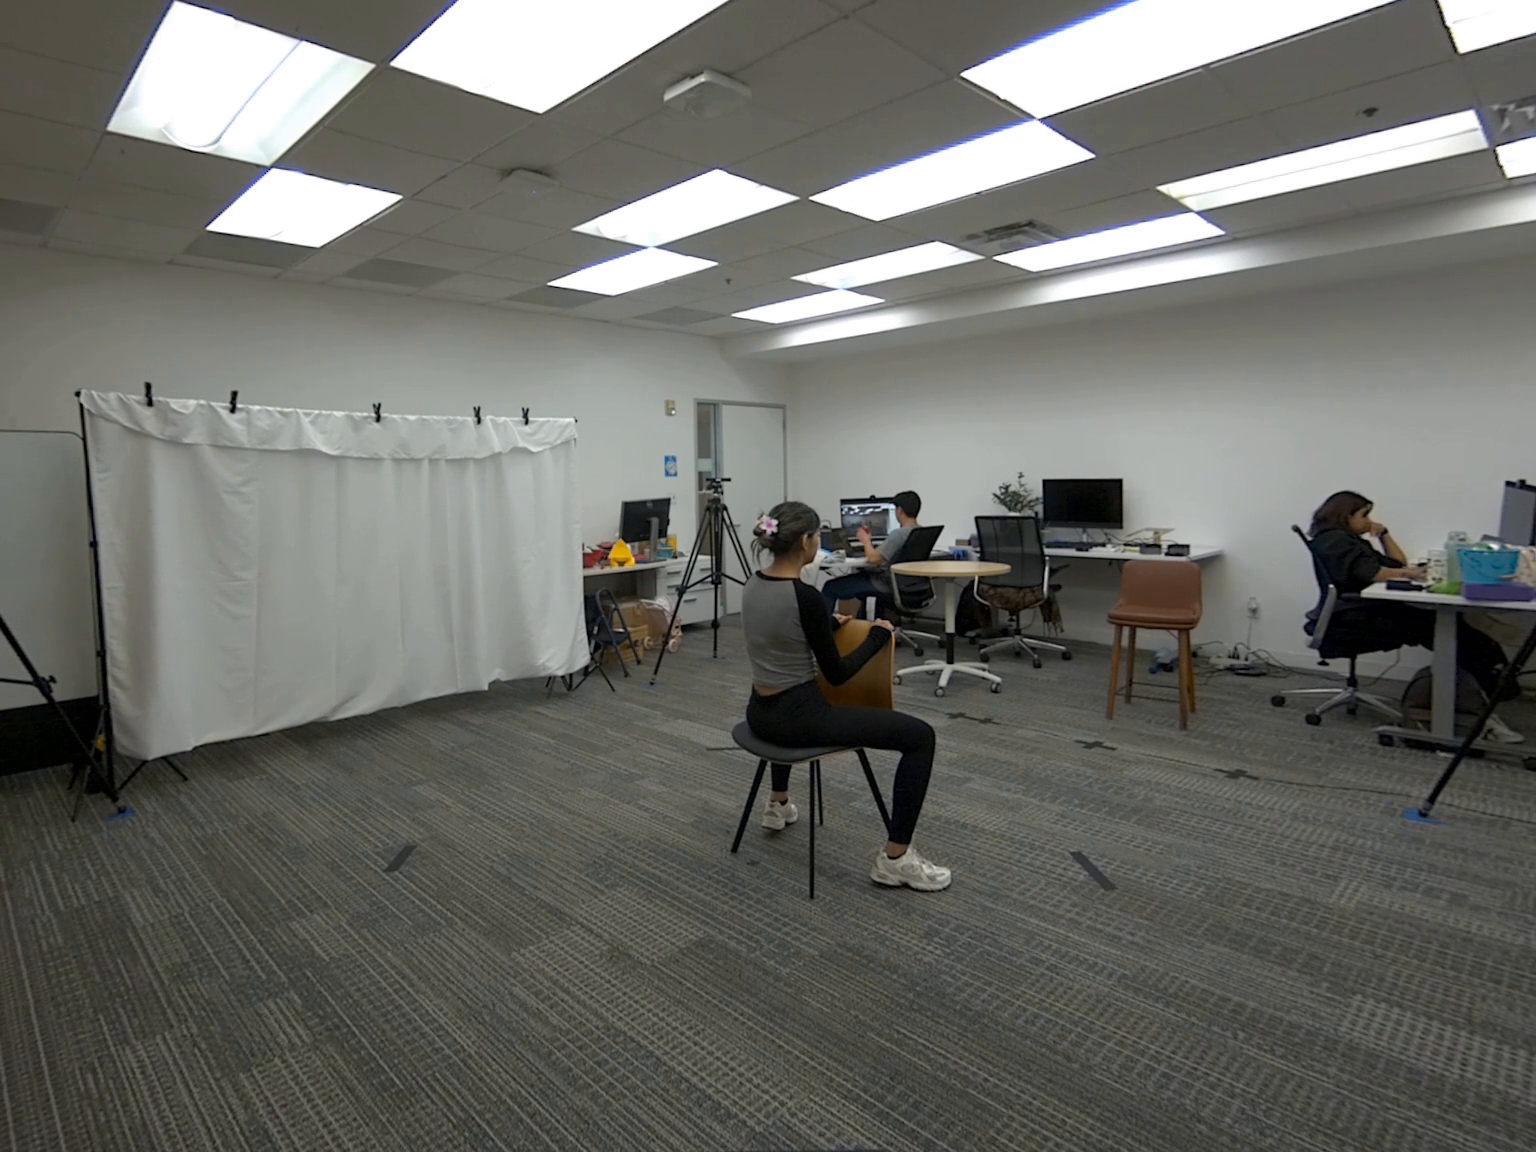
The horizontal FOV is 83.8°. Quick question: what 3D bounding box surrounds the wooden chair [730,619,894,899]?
[{"bbox_3d":[0.166,0.611,3.103,0.508,0.877,0.492,3,1,-37],"label":"wooden chair"}]
